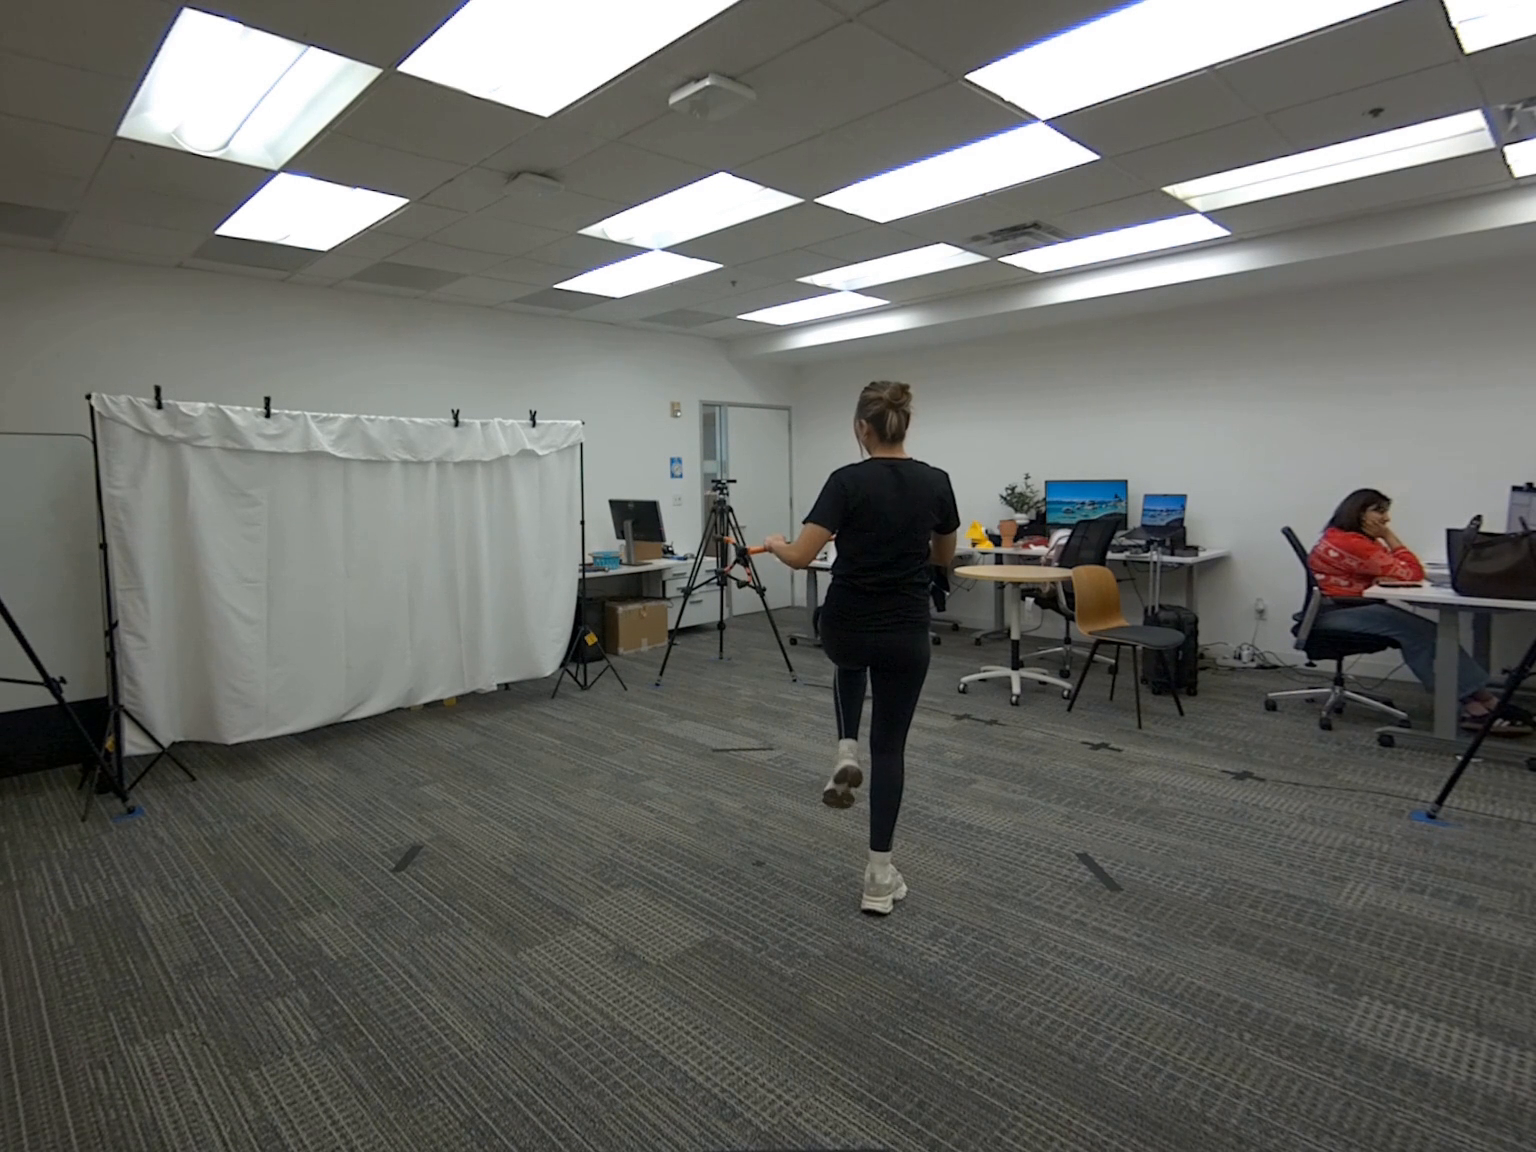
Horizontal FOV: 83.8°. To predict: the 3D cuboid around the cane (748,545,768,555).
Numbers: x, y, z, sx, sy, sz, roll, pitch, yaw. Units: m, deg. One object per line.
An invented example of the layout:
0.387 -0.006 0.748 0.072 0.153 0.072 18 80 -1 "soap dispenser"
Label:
0.243 -0.132 3.132 0.891 0.150 0.212 -11 13 -26 "cane"
